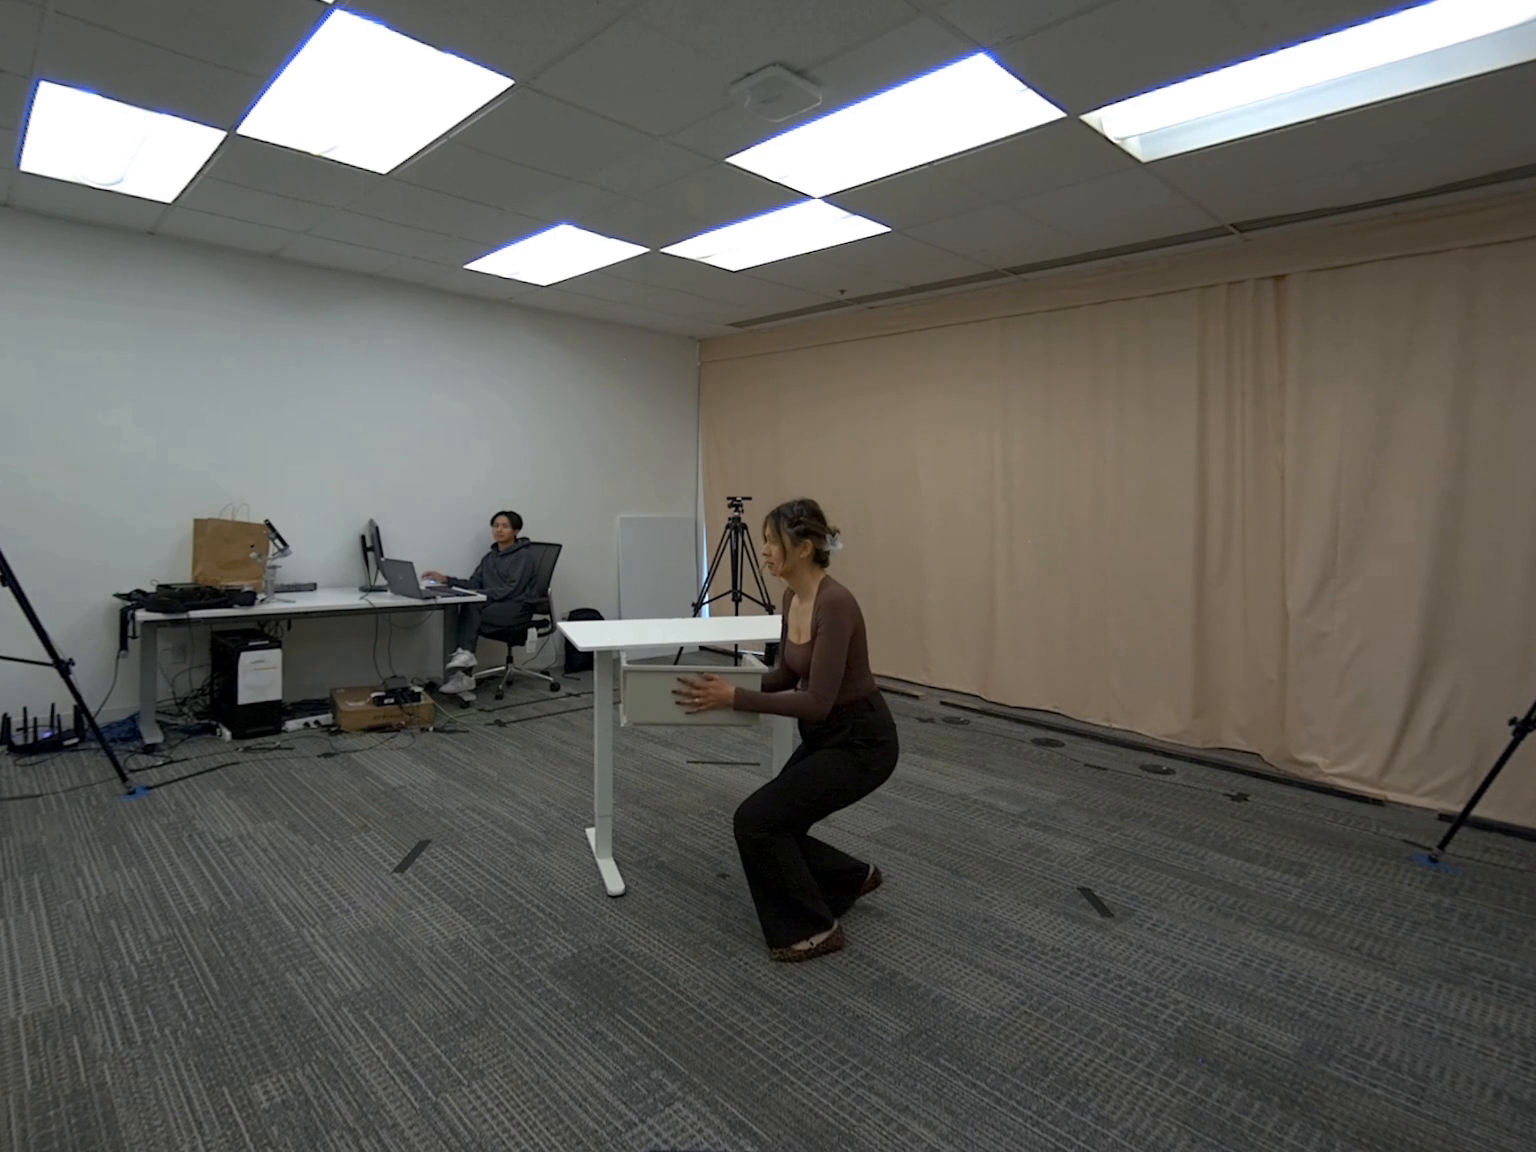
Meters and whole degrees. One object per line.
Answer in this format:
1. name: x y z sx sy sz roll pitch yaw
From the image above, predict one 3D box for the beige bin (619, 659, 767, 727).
1. beige bin: -0.253 0.339 2.605 0.419 0.188 0.381 2 4 -10
